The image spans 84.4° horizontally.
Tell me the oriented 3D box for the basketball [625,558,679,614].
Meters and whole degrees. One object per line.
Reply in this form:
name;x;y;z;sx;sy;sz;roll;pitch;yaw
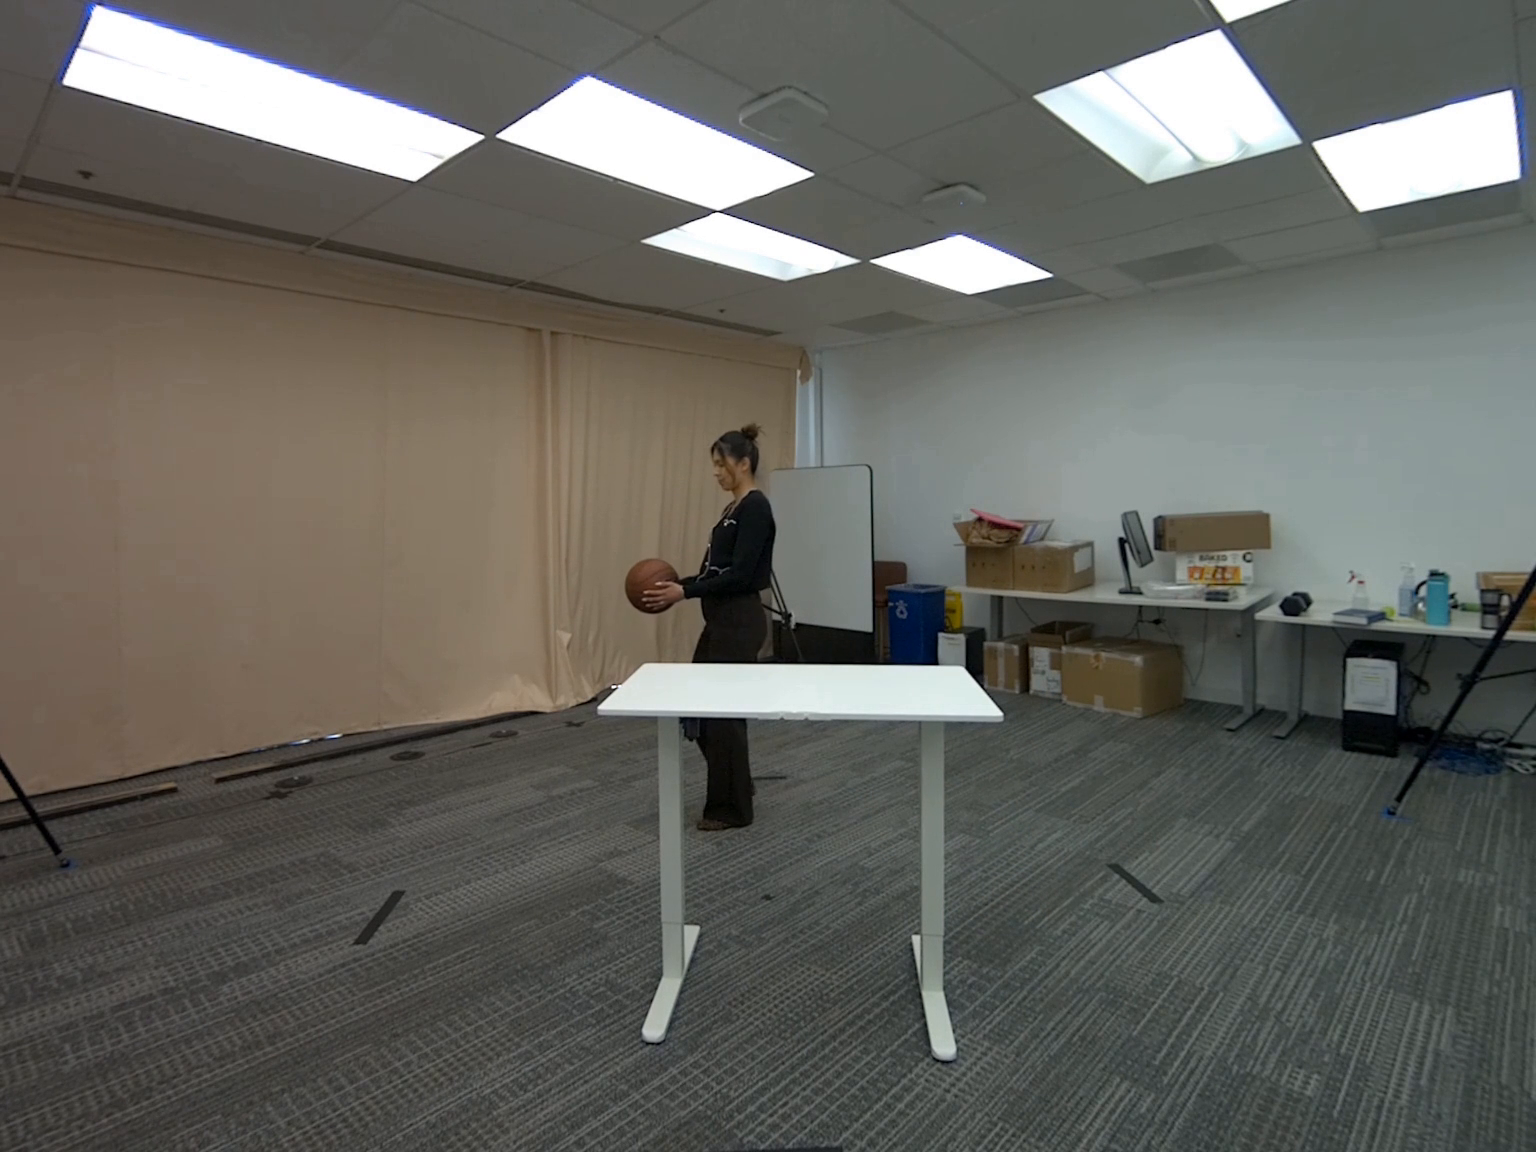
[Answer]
basketball;-0.484;0.048;3.589;0.236;0.235;0.237;-1;4;-2
